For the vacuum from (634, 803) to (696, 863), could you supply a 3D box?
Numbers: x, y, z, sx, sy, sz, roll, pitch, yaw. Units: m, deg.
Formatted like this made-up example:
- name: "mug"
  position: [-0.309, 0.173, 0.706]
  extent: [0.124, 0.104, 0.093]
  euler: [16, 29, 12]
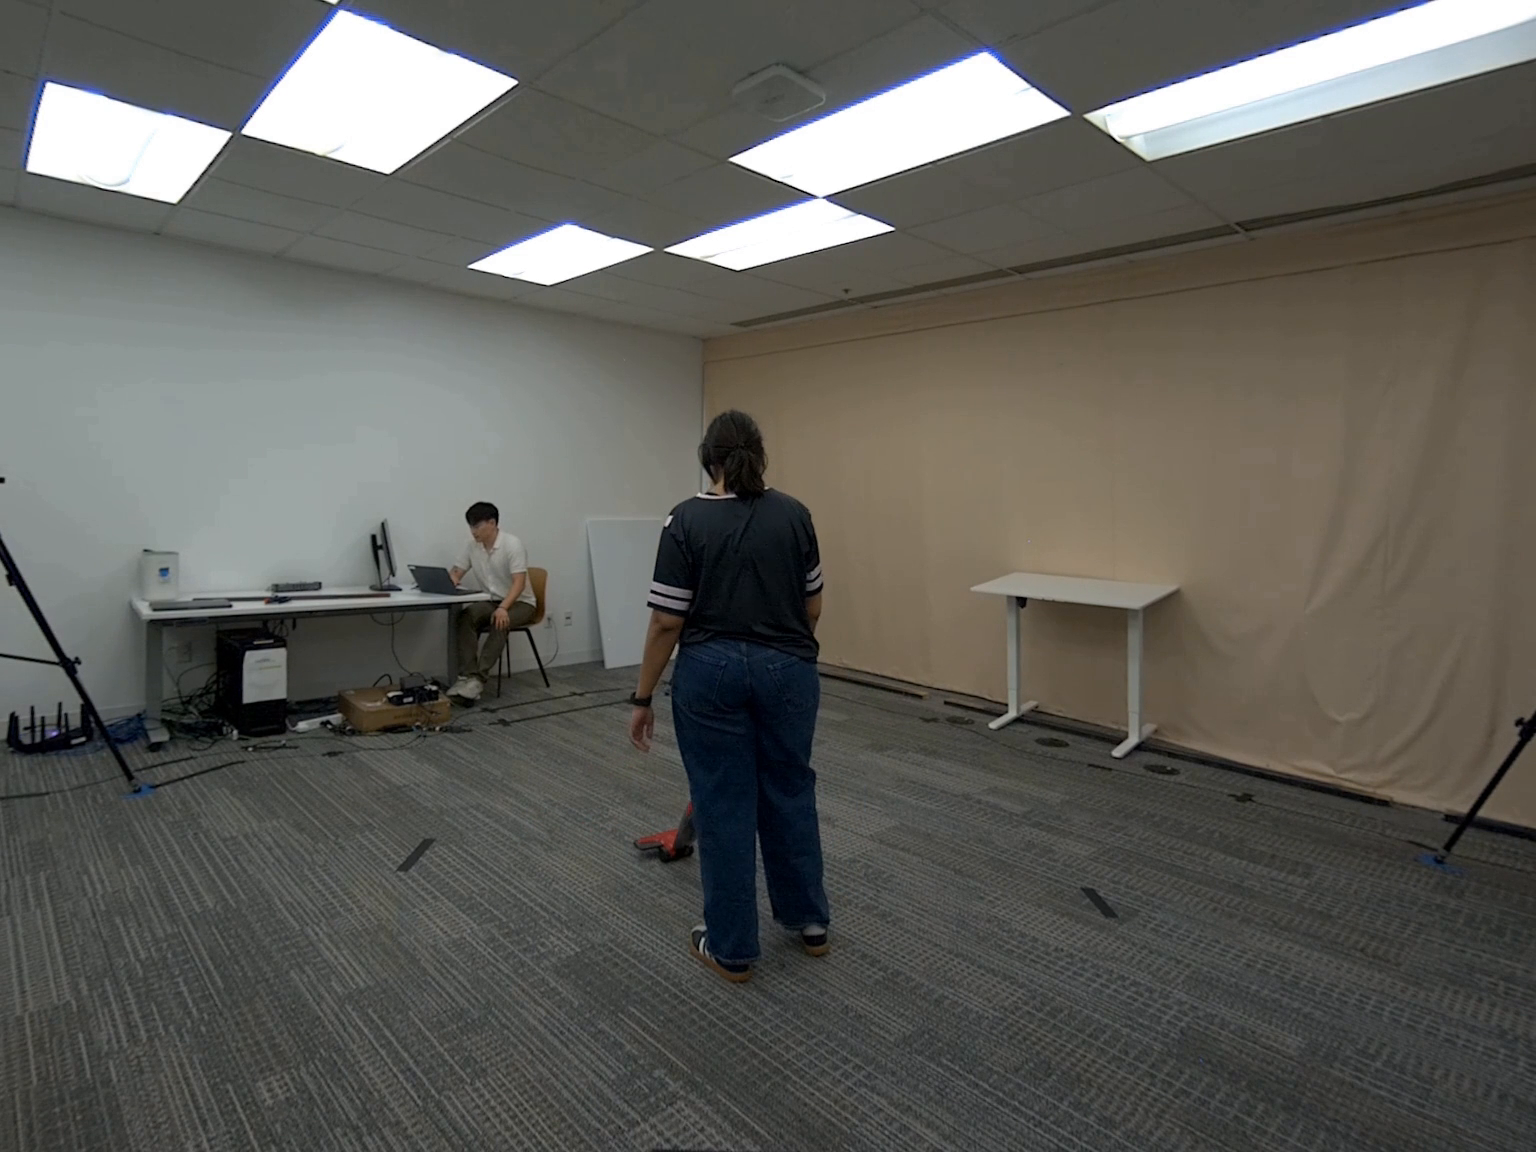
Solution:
- name: "vacuum"
  position: [-0.162, 0.719, 2.987]
  extent: [0.247, 1.043, 0.148]
  euler: [-6, 52, -41]
